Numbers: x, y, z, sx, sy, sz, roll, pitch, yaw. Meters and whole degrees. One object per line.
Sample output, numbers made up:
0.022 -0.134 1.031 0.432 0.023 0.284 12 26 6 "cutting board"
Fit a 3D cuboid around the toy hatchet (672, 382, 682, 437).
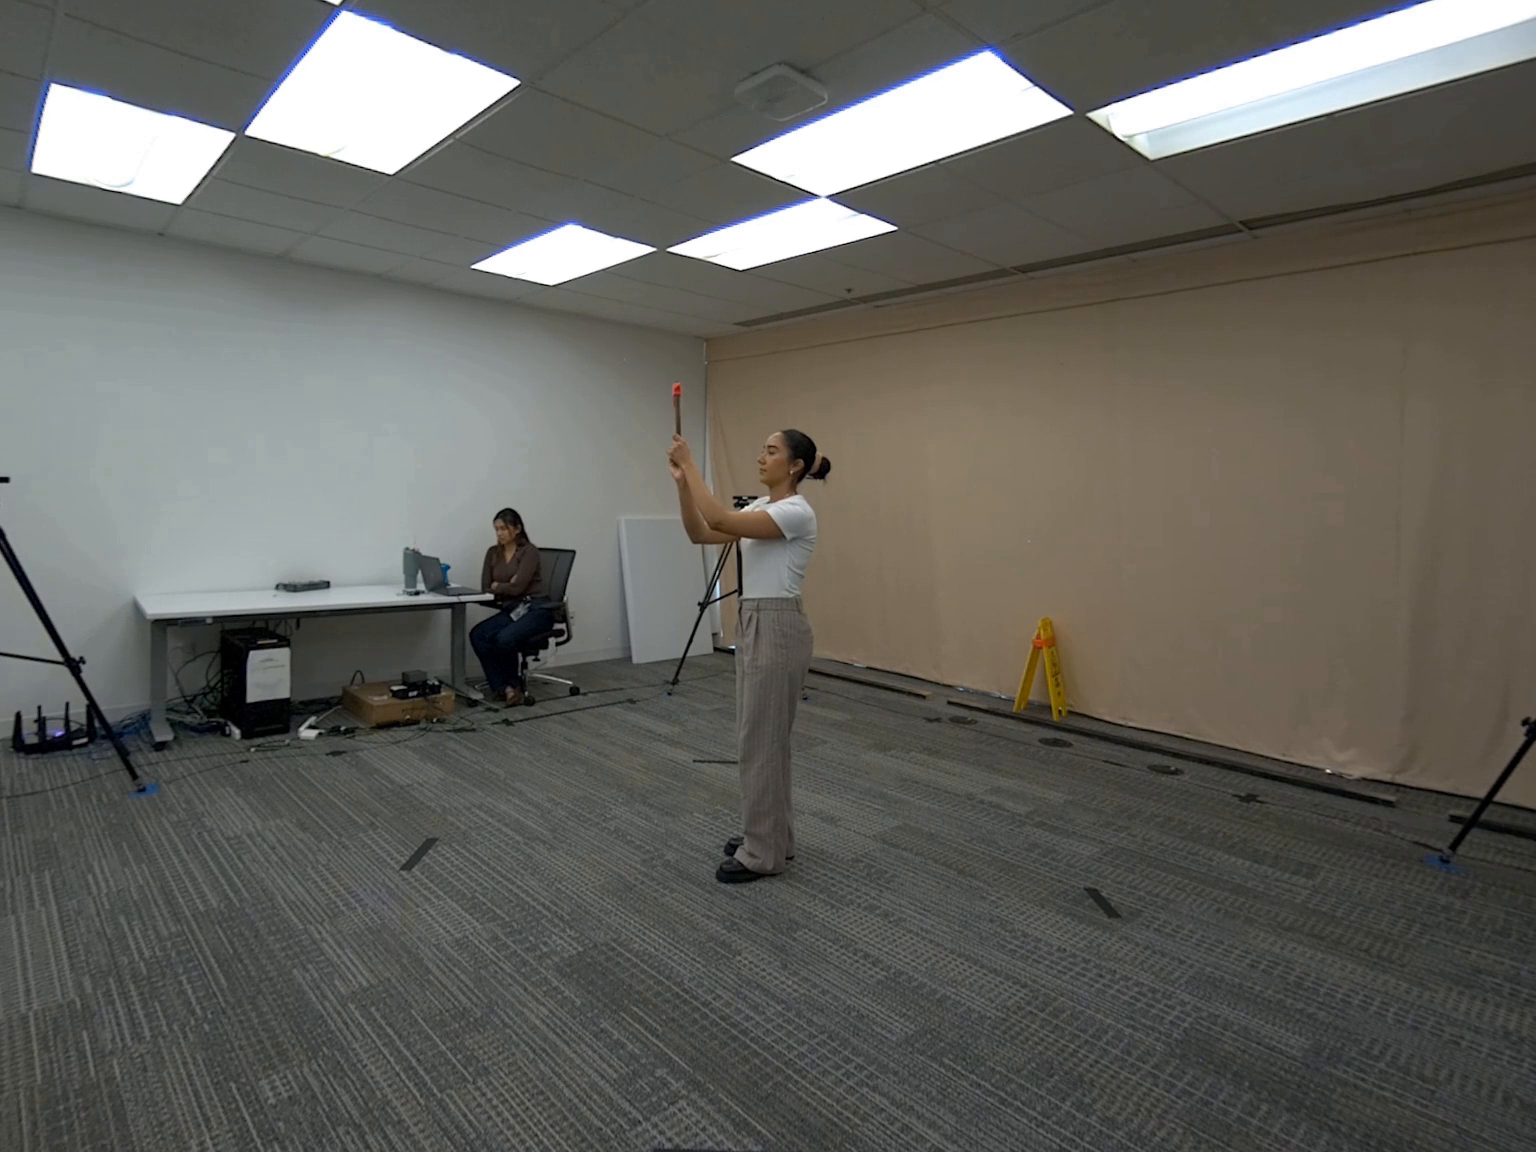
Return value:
-0.342 -0.579 3.082 0.029 0.268 0.133 -2 12 -9 "toy hatchet"
